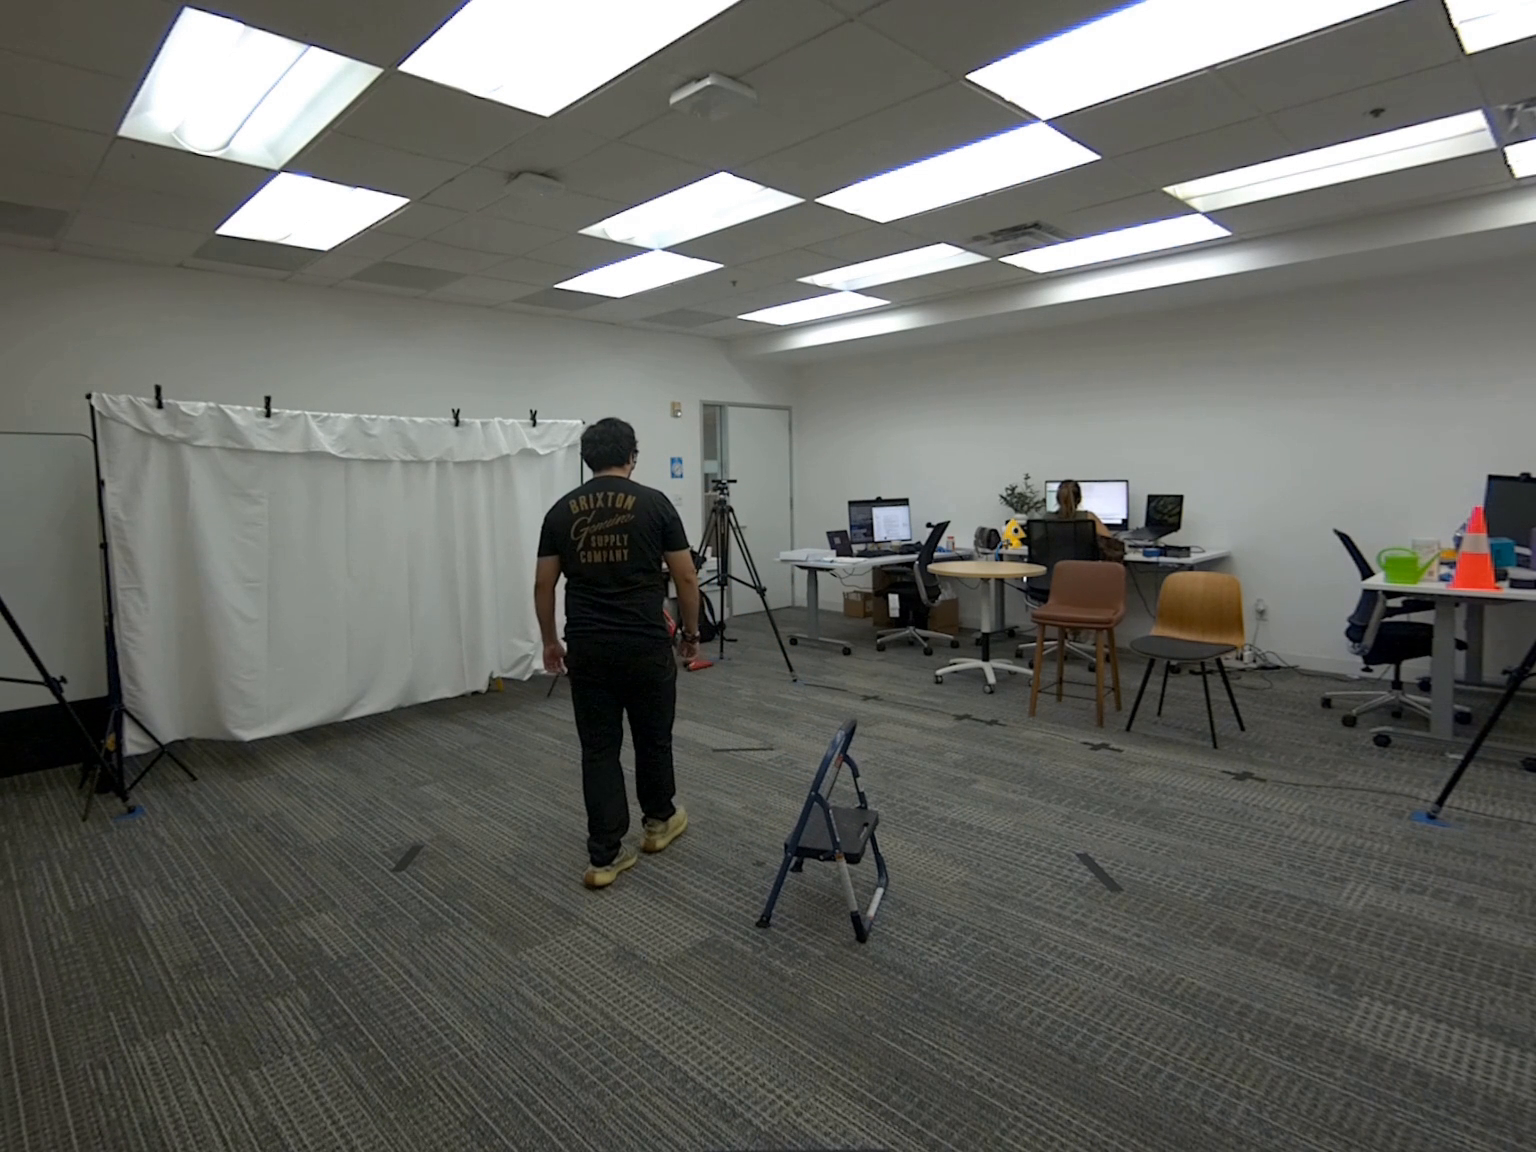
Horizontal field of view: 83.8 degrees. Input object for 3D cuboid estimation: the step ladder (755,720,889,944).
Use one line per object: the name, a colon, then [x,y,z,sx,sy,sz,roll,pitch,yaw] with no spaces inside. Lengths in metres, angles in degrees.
step ladder: [0.191,0.777,2.785,0.356,0.604,0.424,0,5,19]
